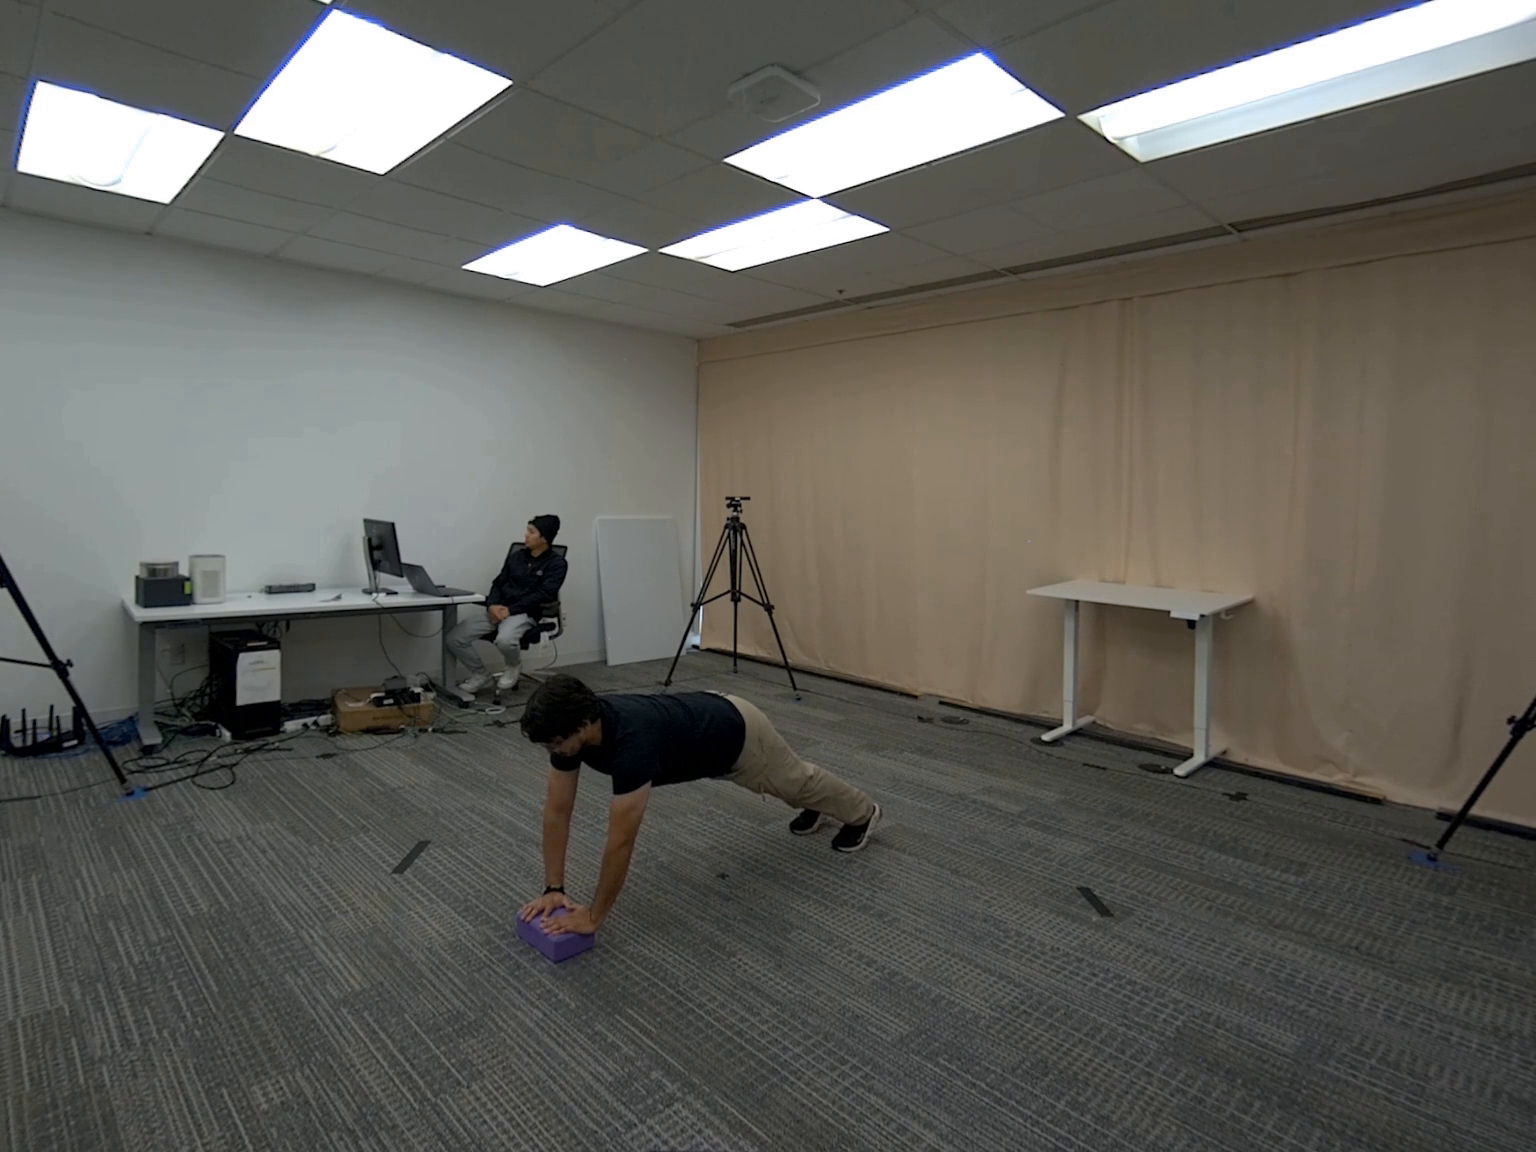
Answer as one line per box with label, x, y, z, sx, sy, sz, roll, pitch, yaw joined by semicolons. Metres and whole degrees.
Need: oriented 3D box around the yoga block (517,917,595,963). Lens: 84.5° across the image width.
yoga block;-0.666;1.103;2.620;0.235;0.076;0.146;8;11;44
